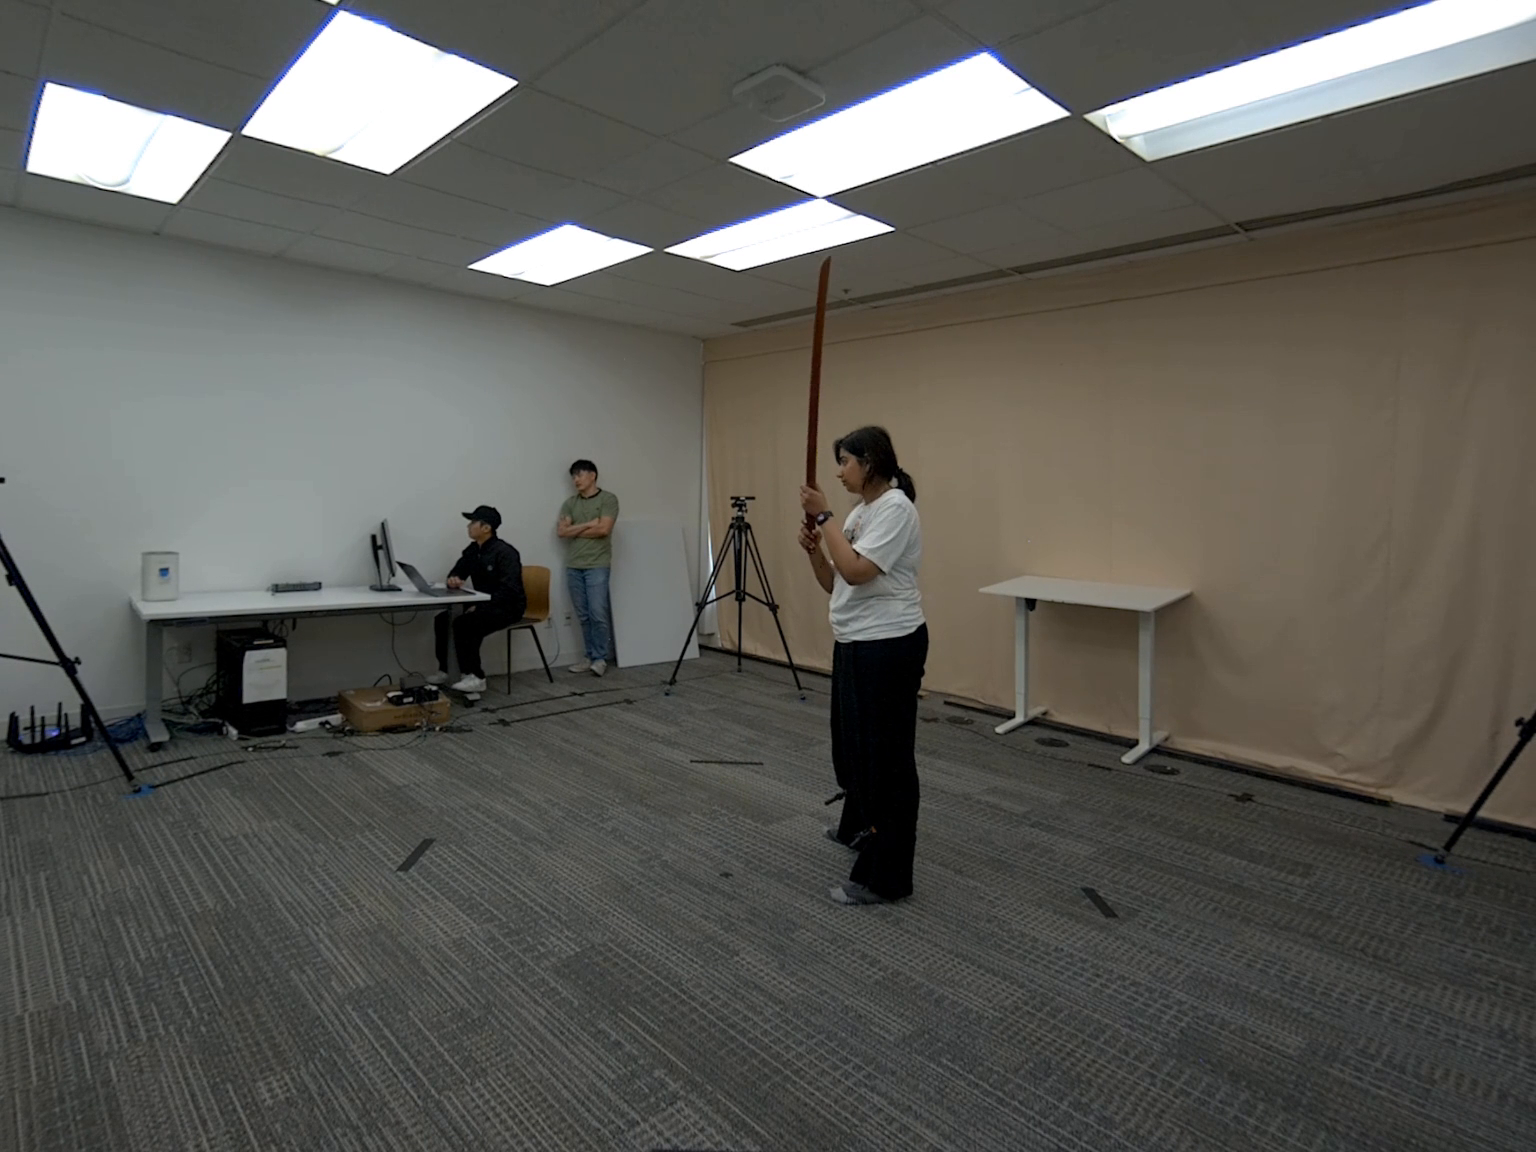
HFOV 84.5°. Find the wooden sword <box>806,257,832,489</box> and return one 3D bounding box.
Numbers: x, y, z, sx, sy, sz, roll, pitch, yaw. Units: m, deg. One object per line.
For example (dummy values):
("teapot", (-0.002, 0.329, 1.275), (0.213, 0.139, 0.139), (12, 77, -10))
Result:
("wooden sword", (0.146, -0.557, 2.834), (0.052, 1.008, 0.024), (20, 30, 30))
